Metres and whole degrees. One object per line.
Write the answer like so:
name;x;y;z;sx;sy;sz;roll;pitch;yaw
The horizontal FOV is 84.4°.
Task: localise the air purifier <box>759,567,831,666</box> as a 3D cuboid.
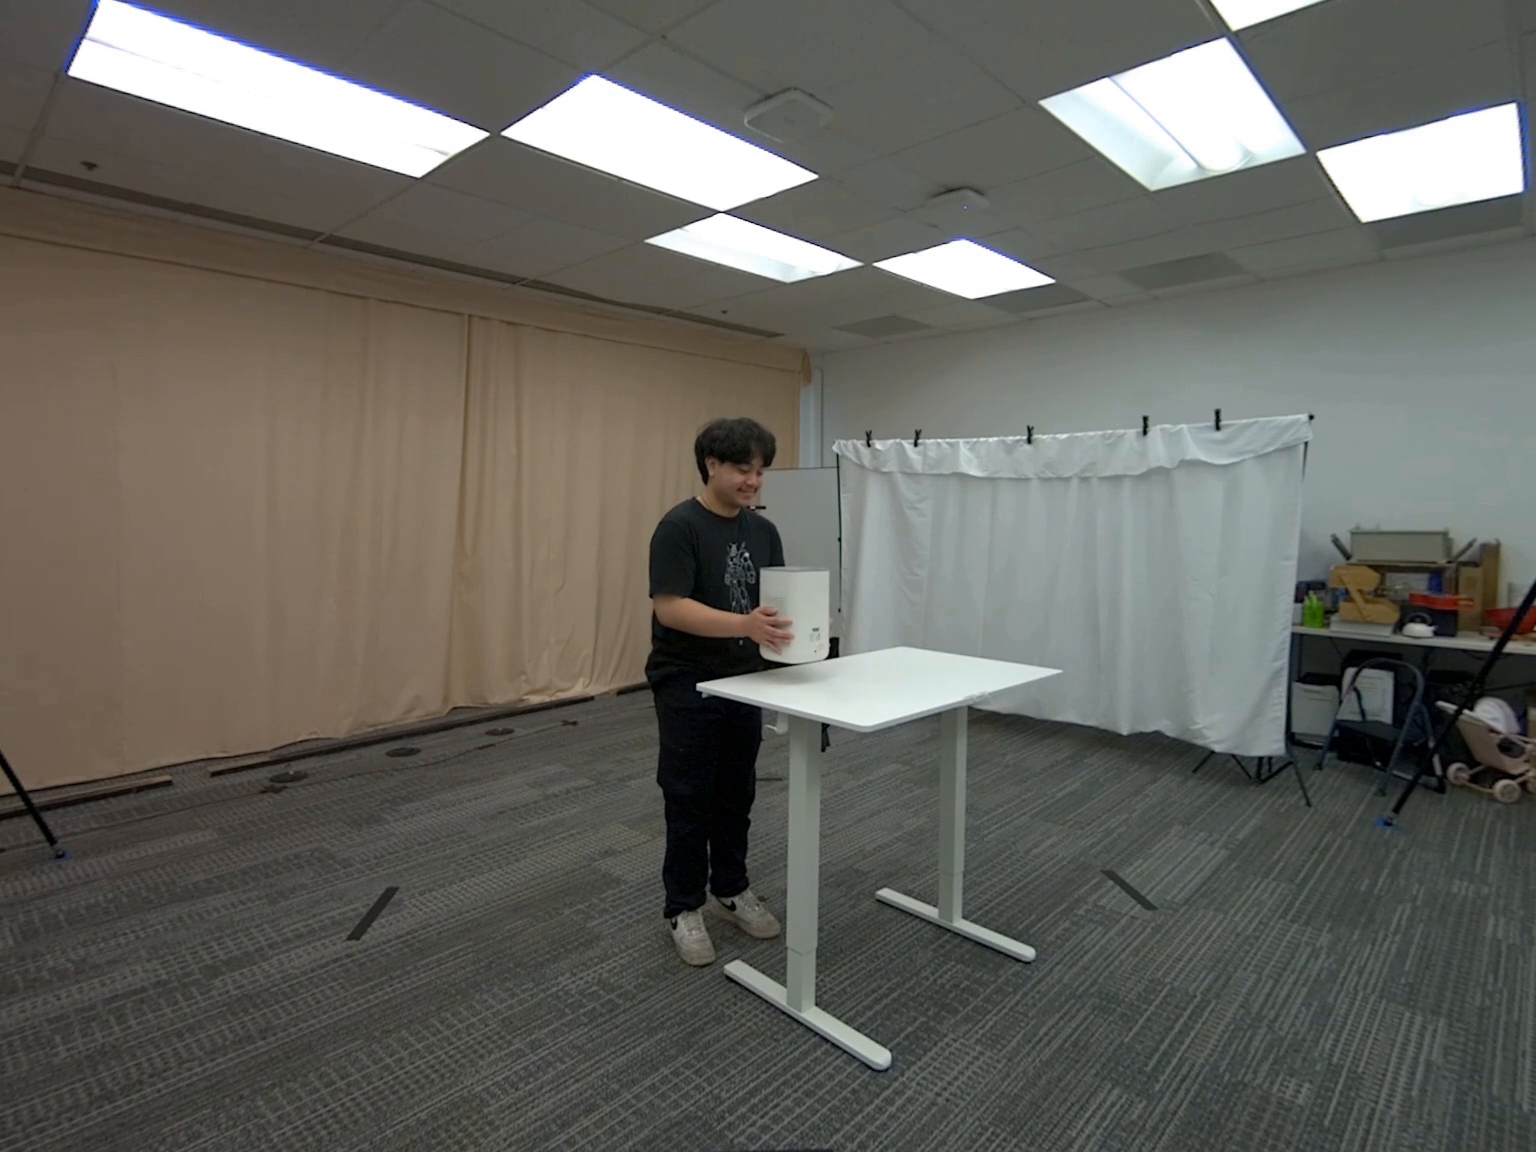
air purifier;0.077;0.108;2.427;0.166;0.265;0.177;-1;2;-43
